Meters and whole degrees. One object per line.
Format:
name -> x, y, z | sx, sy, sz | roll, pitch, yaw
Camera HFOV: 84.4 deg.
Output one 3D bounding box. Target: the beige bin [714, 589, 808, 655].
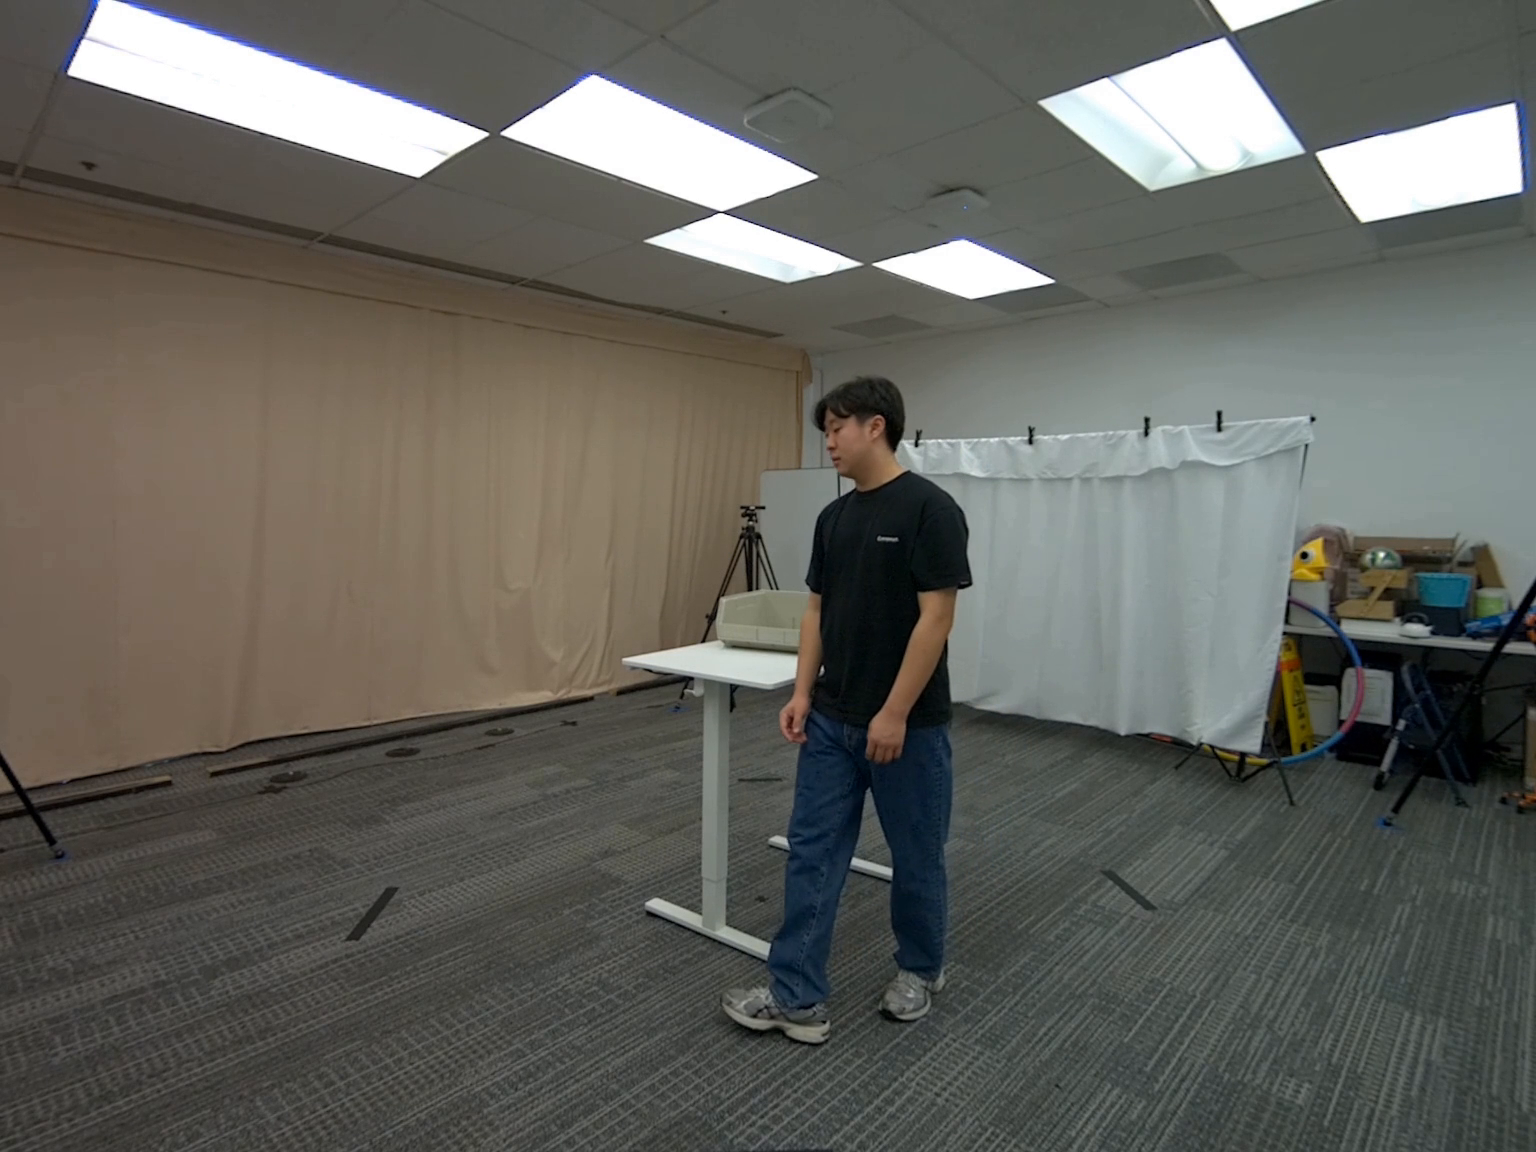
beige bin -> 0.090, 0.170, 3.049 | 0.434, 0.189, 0.368 | 2, 4, 28
